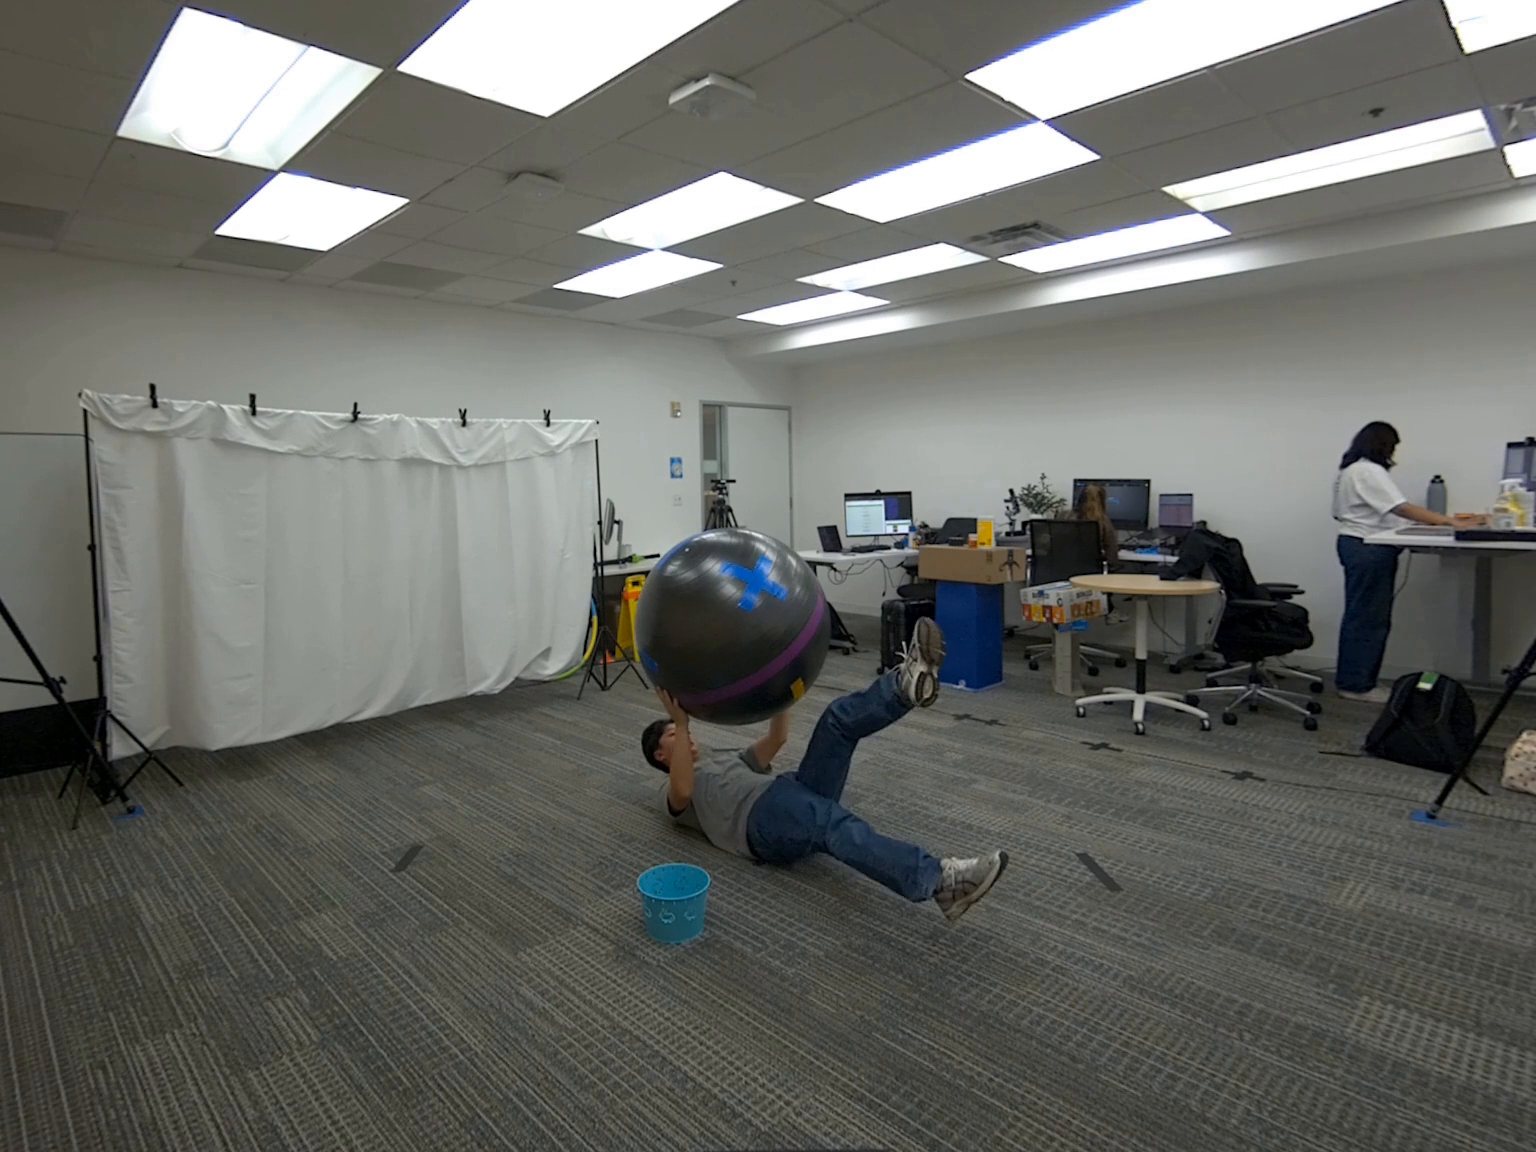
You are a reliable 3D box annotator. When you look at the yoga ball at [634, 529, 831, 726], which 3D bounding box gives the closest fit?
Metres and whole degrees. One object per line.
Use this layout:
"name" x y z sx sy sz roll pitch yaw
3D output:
"yoga ball" -0.147 0.202 3.305 0.757 0.755 0.762 -1 5 -2
